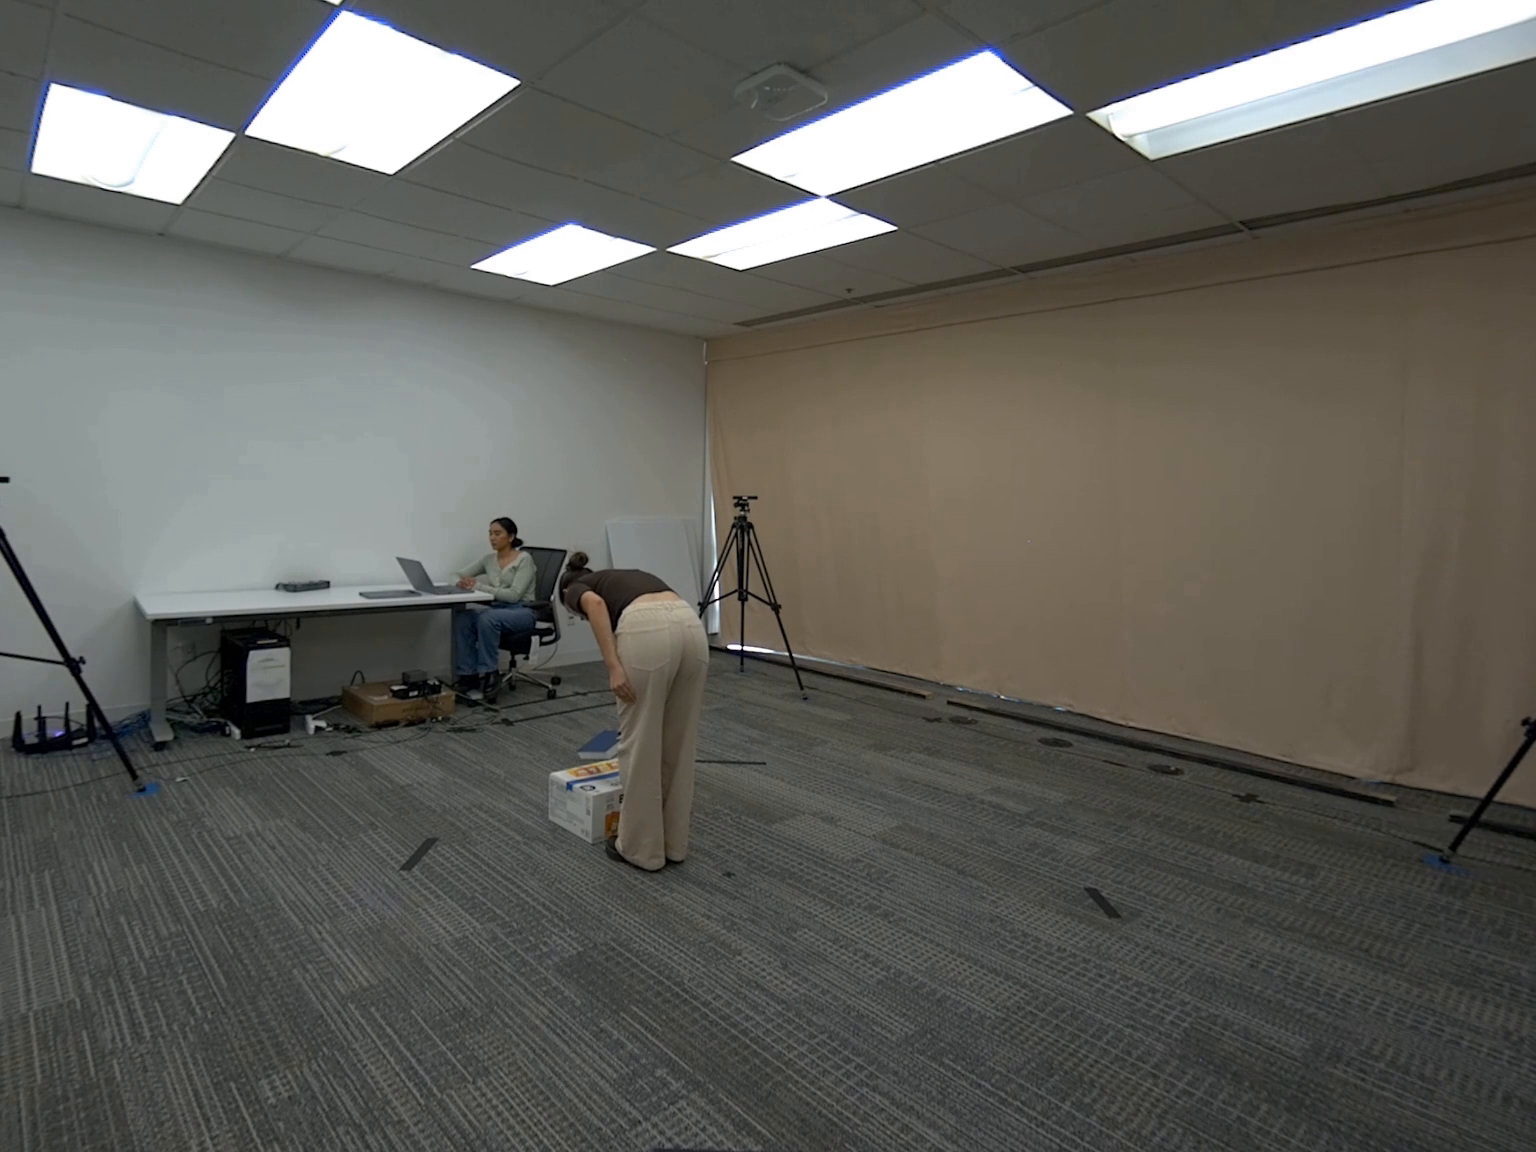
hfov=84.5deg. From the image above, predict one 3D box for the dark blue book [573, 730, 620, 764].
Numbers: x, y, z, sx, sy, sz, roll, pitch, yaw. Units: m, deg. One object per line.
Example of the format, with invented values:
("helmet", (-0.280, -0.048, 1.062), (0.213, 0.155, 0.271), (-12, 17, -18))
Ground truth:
("dark blue book", (-0.679, 0.707, 3.517), (0.162, 0.045, 0.249), (-34, 14, -37))
